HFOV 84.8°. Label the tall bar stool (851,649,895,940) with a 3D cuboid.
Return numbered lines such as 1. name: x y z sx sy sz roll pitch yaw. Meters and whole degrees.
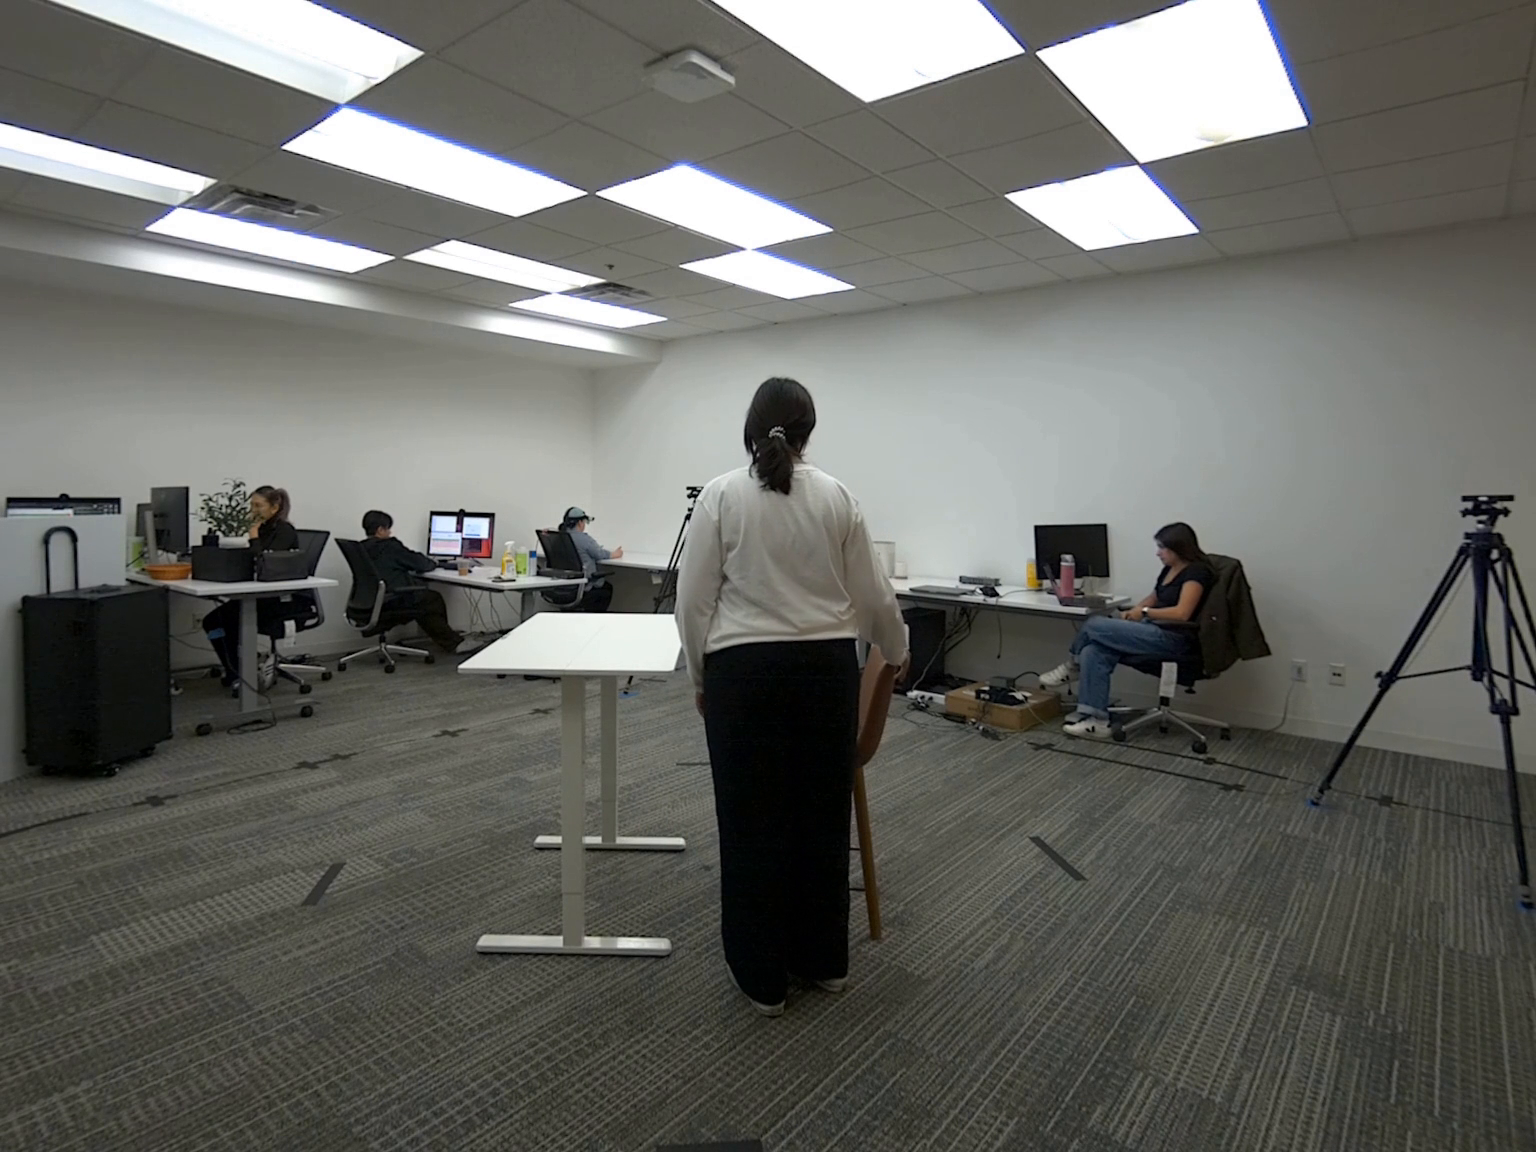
1. tall bar stool: 0.161 0.672 2.827 0.472 0.887 0.453 4 3 7
